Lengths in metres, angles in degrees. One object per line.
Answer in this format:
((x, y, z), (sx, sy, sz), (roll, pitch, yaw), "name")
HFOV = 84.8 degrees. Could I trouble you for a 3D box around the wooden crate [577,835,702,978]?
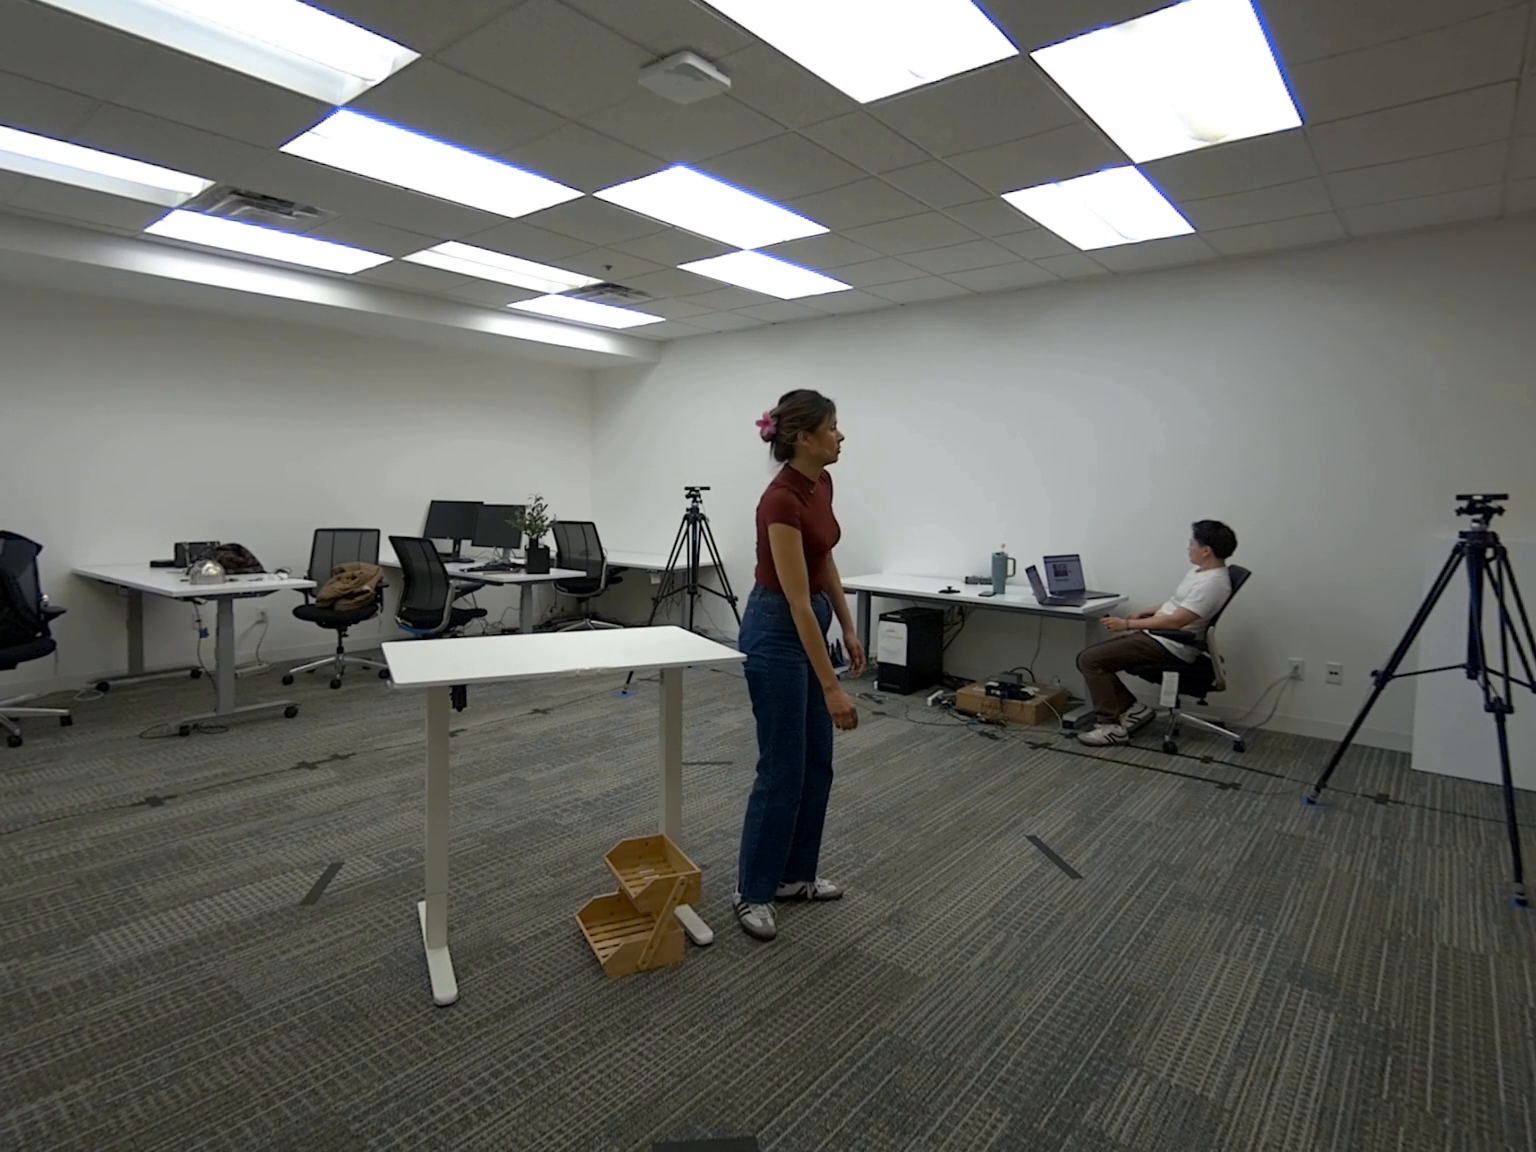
((-0.413, 0.988, 2.576), (0.295, 0.272, 0.333), (-2, 5, -26), "wooden crate")
